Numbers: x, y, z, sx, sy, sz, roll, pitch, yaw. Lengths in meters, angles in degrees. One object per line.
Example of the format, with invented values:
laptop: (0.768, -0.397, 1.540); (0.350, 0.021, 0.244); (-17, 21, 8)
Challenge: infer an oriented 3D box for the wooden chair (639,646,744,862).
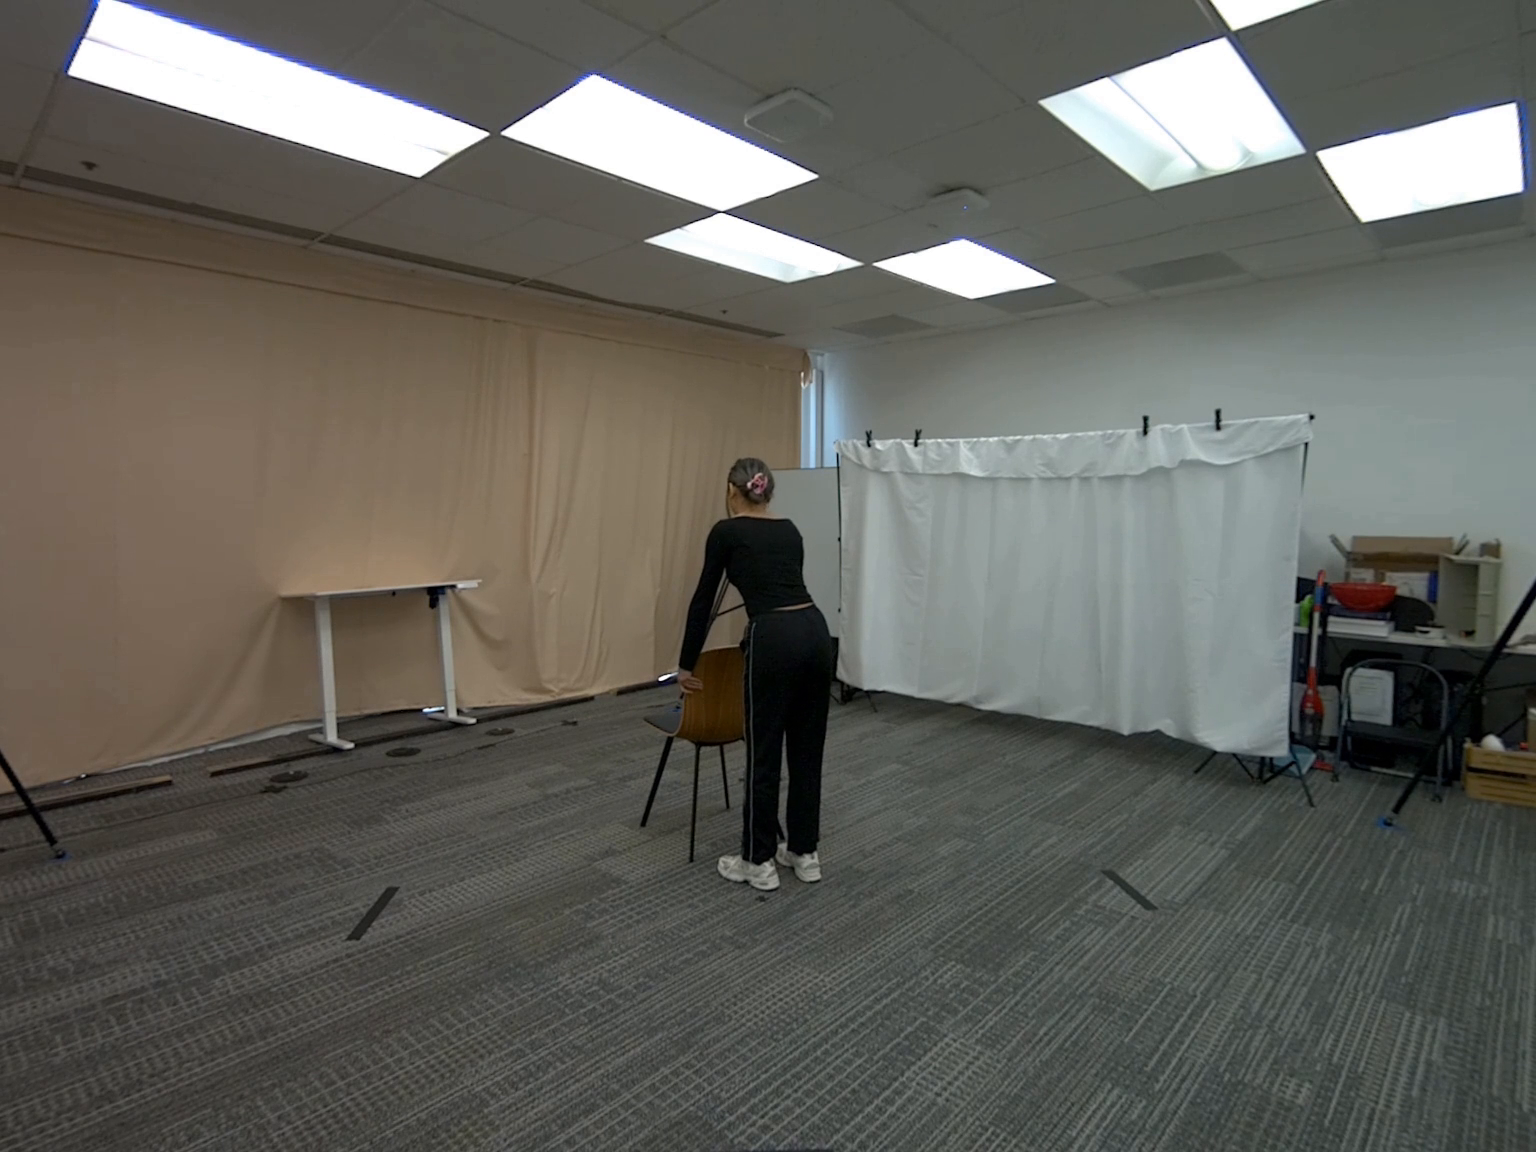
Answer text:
wooden chair: (-0.255, 0.671, 3.569); (0.465, 0.874, 0.540); (-2, 8, -32)
